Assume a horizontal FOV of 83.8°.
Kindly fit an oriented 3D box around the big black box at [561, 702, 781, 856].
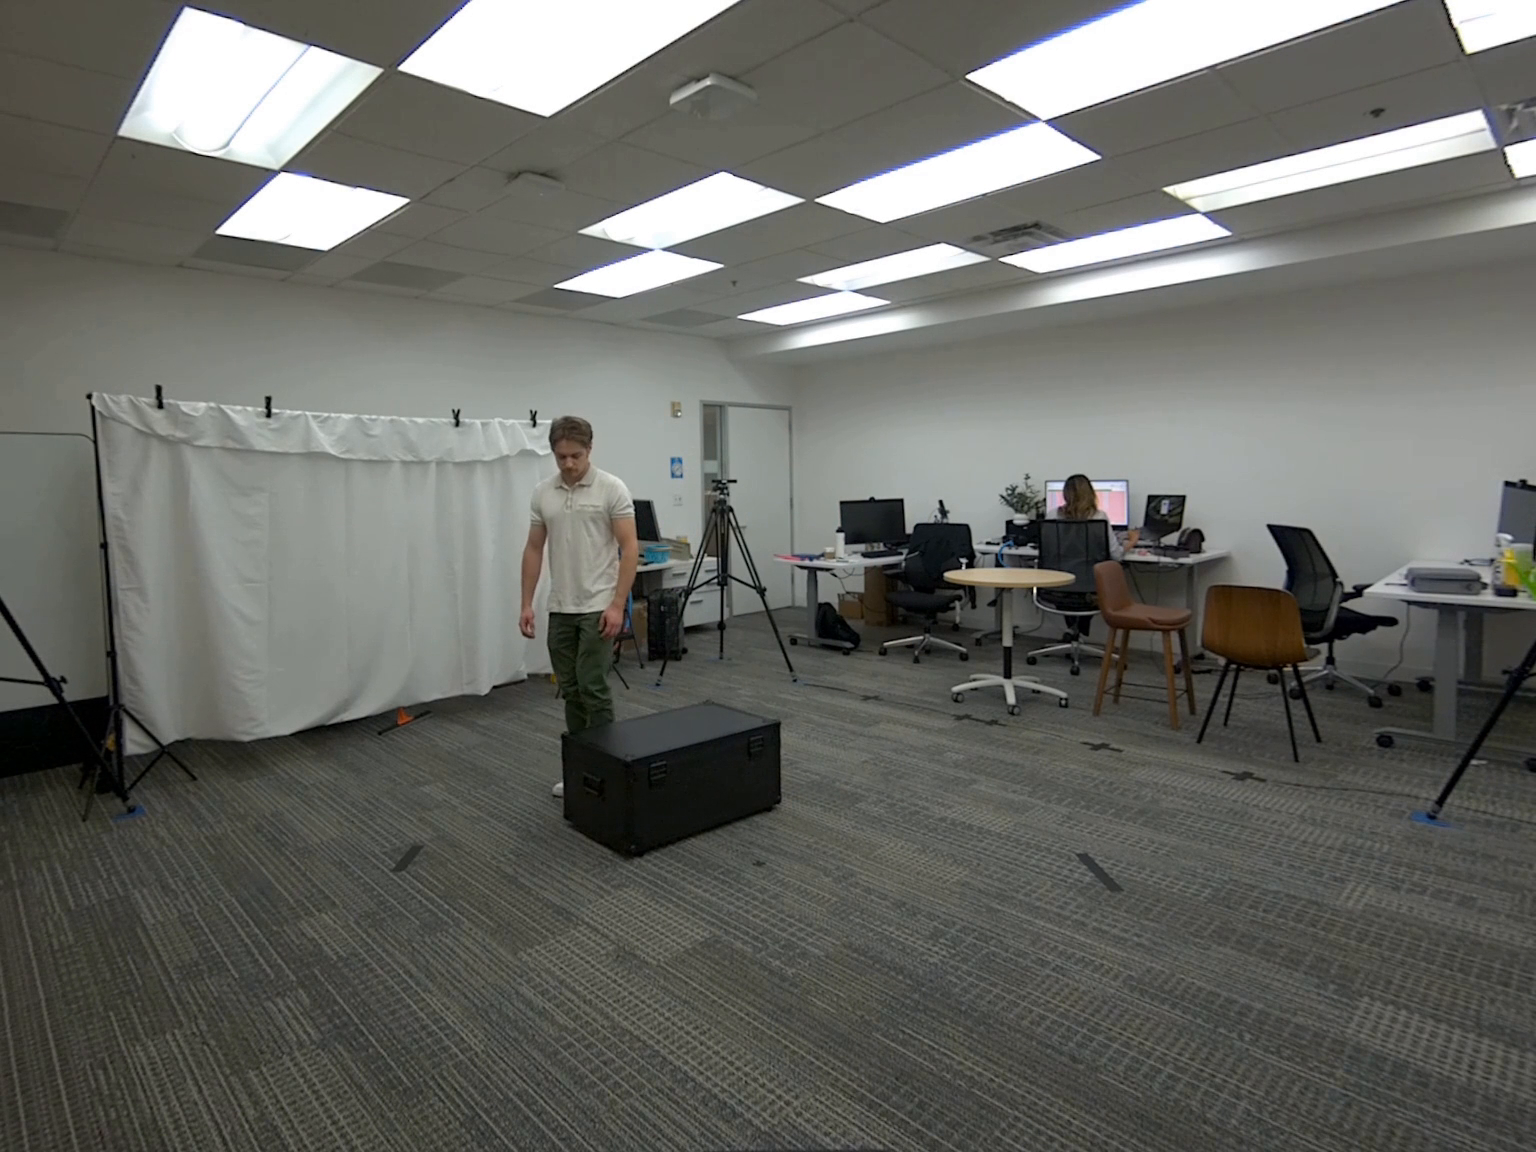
[{"bbox_3d":[-0.364,0.812,3.576,0.839,0.394,0.537,-7,7,-42],"label":"big black box"}]
